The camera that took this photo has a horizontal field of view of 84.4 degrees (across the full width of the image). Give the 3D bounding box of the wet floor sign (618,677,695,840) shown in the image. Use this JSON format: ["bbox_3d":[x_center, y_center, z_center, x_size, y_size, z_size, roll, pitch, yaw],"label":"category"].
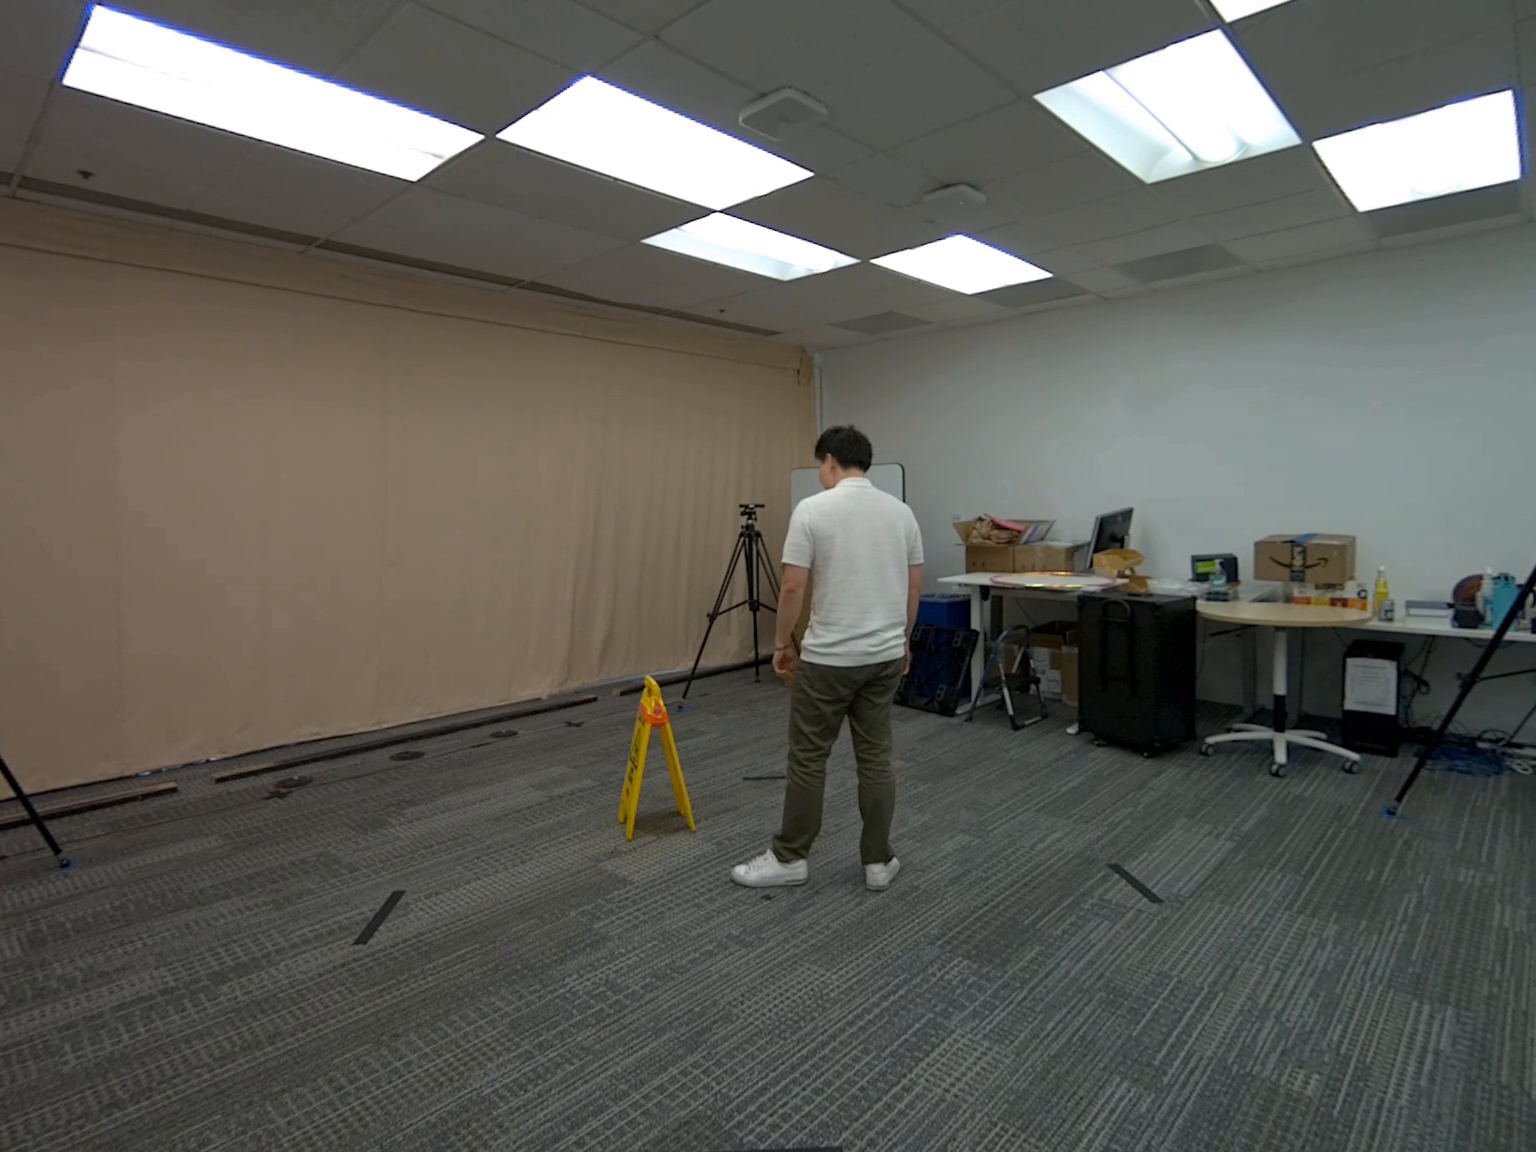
[{"bbox_3d":[-0.500,0.767,3.676,0.285,0.645,0.288,-2,3,-18],"label":"wet floor sign"}]
